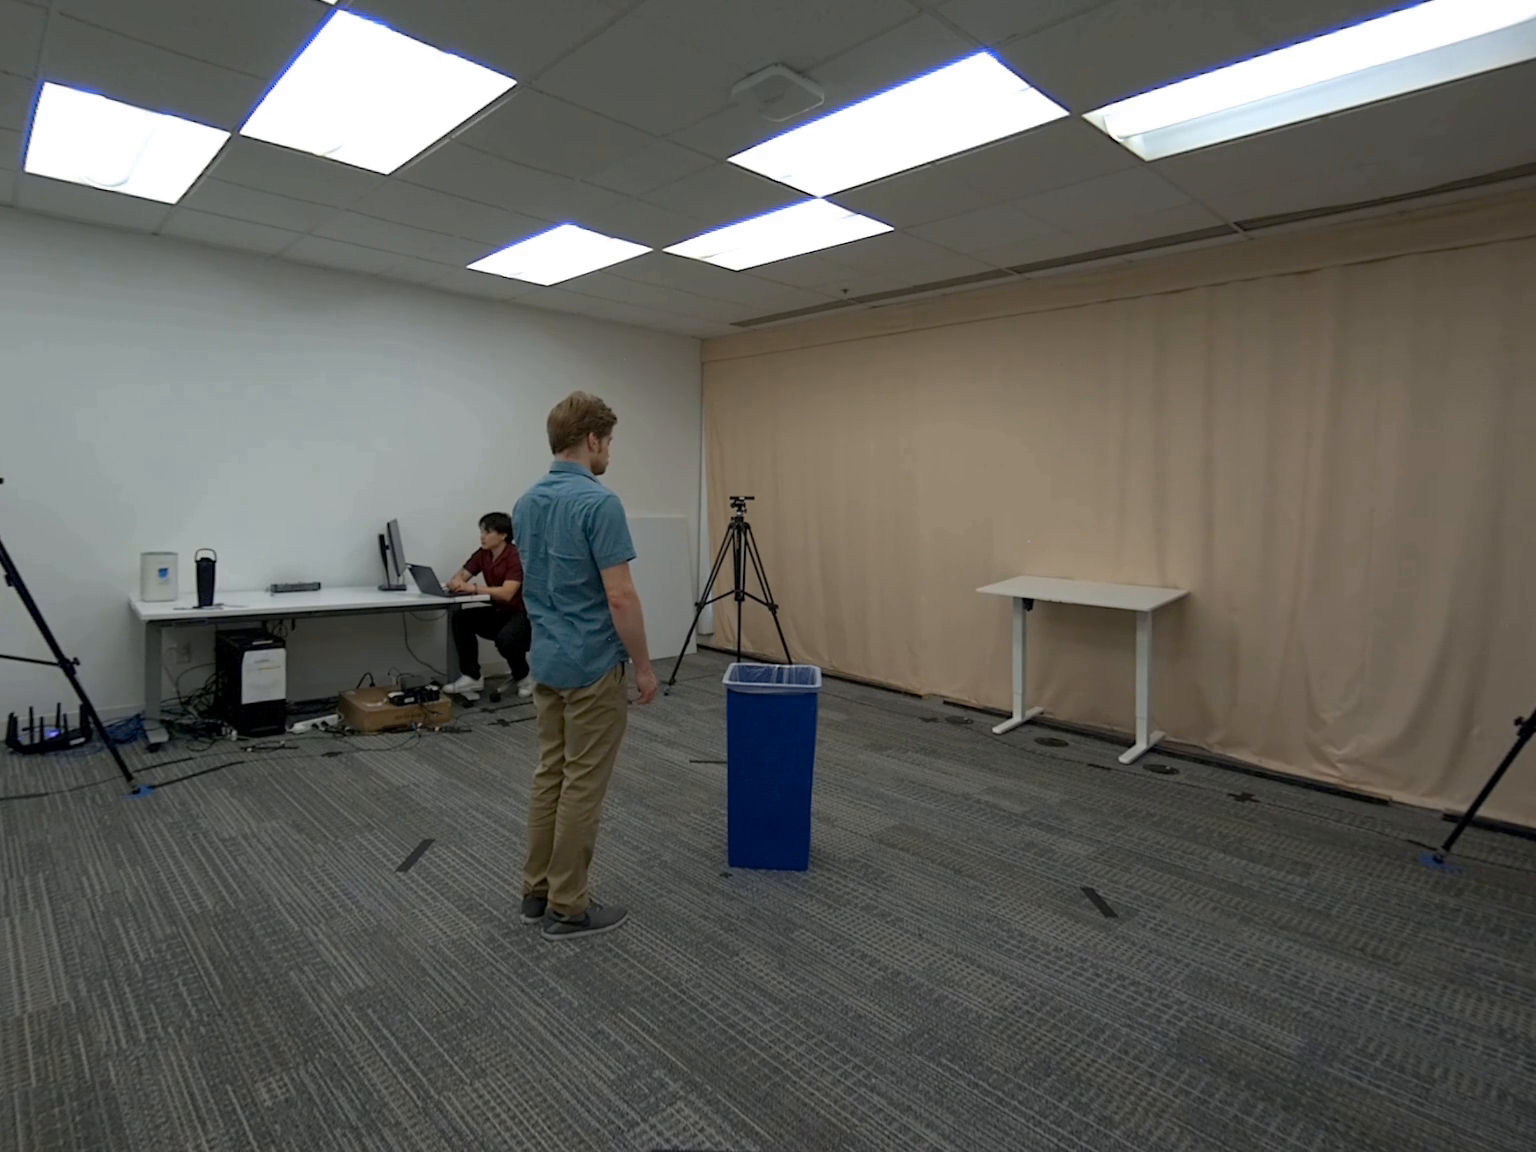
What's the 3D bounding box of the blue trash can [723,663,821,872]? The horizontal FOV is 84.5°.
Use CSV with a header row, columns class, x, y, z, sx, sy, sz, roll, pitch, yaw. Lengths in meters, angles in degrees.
class,x,y,z,sx,sy,sz,roll,pitch,yaw
blue trash can,-0.004,0.736,3.289,0.375,0.711,0.378,2,4,3
